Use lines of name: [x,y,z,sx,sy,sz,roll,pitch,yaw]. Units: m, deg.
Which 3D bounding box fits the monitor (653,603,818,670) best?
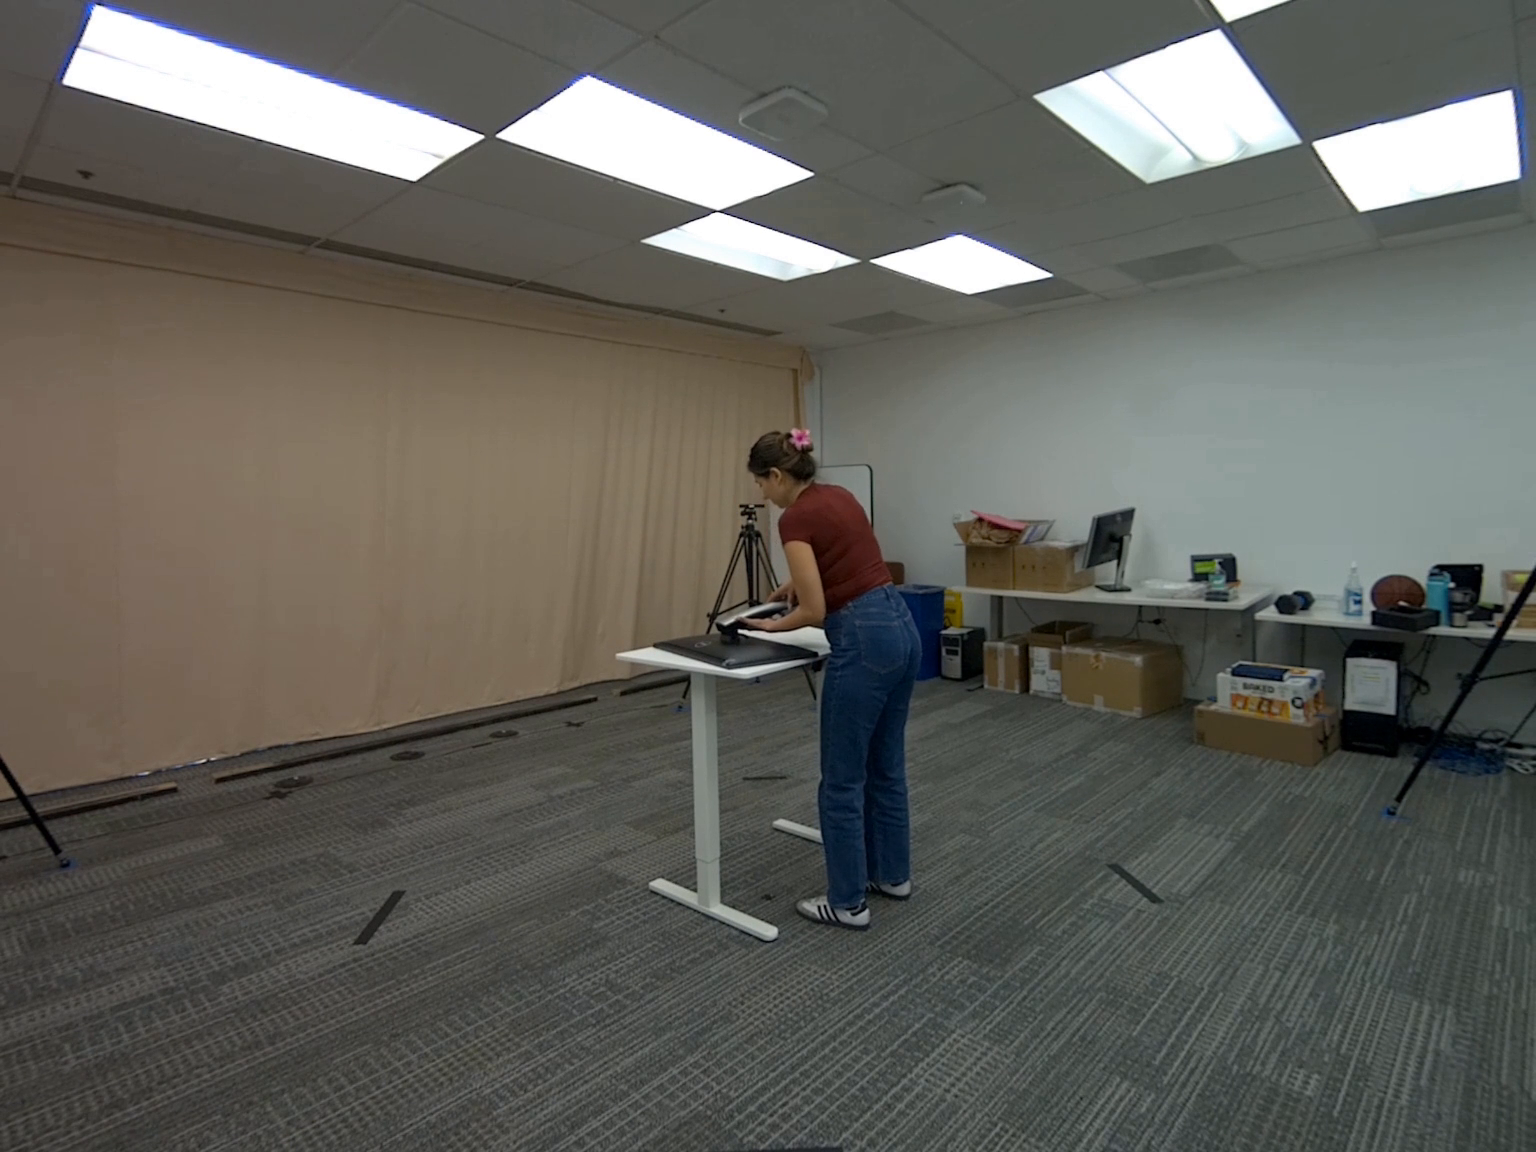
monitor: [-0.061,0.195,2.974,0.512,0.185,0.555,-23,15,-29]
